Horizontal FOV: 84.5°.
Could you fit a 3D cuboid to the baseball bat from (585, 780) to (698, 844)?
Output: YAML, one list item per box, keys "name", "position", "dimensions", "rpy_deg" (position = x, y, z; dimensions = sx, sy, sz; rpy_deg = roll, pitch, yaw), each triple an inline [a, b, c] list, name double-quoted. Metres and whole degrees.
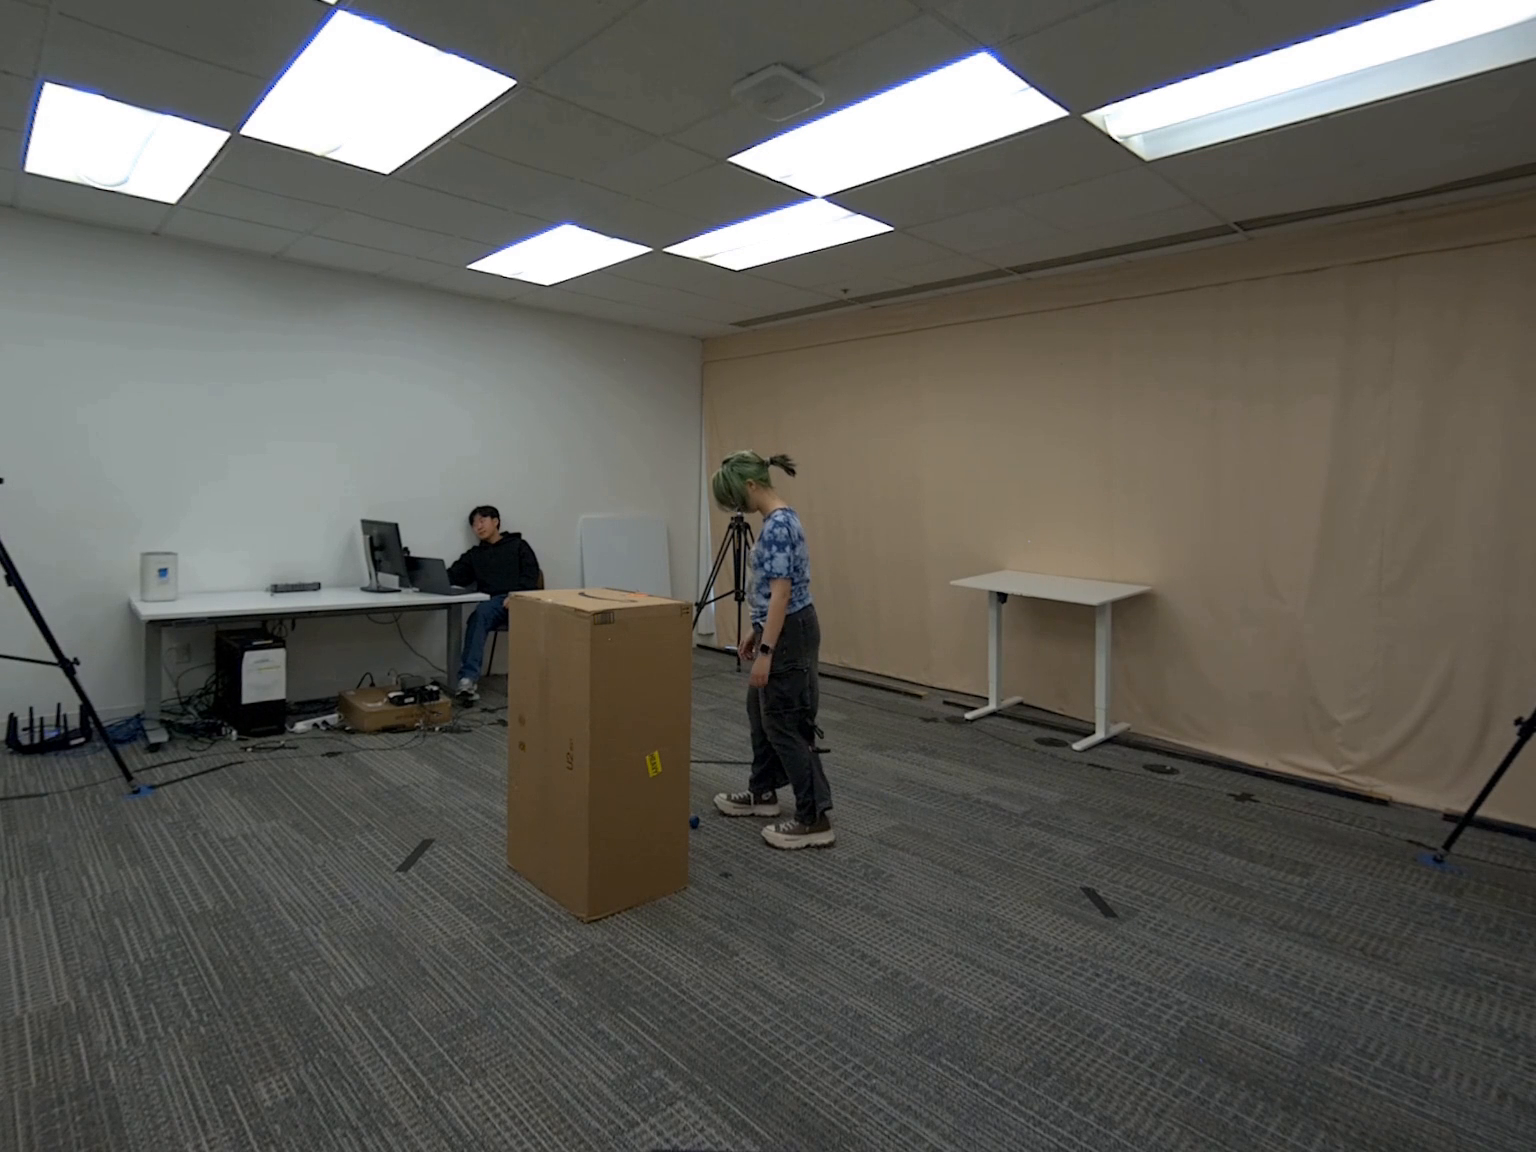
- name: "baseball bat"
  position: [-0.562, 1.022, 3.697]
  dimensions: [0.556, 0.088, 0.087]
  rpy_deg: [10, 8, 31]
